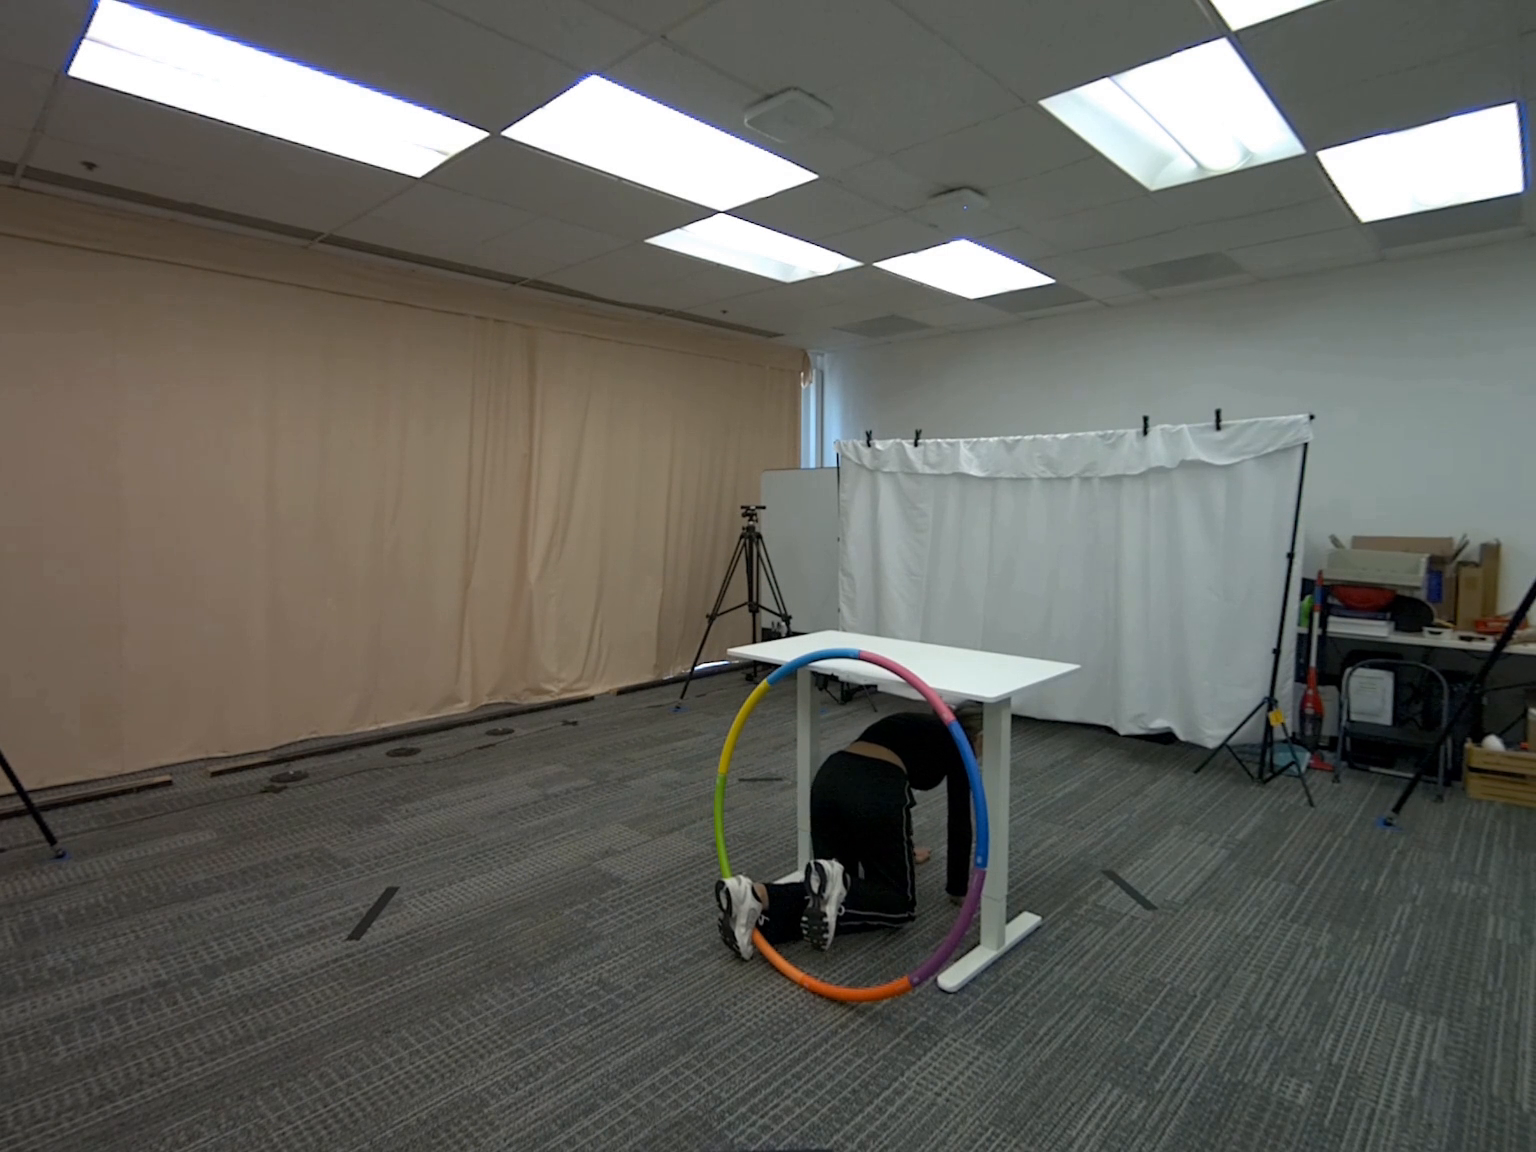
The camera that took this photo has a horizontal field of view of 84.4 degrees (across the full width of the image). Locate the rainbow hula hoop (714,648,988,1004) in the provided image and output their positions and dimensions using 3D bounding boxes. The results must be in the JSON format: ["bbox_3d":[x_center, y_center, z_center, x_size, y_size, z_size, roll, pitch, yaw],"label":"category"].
[{"bbox_3d":[0.196,0.712,2.495,1.011,0.982,0.034,4,-10,43],"label":"rainbow hula hoop"}]
